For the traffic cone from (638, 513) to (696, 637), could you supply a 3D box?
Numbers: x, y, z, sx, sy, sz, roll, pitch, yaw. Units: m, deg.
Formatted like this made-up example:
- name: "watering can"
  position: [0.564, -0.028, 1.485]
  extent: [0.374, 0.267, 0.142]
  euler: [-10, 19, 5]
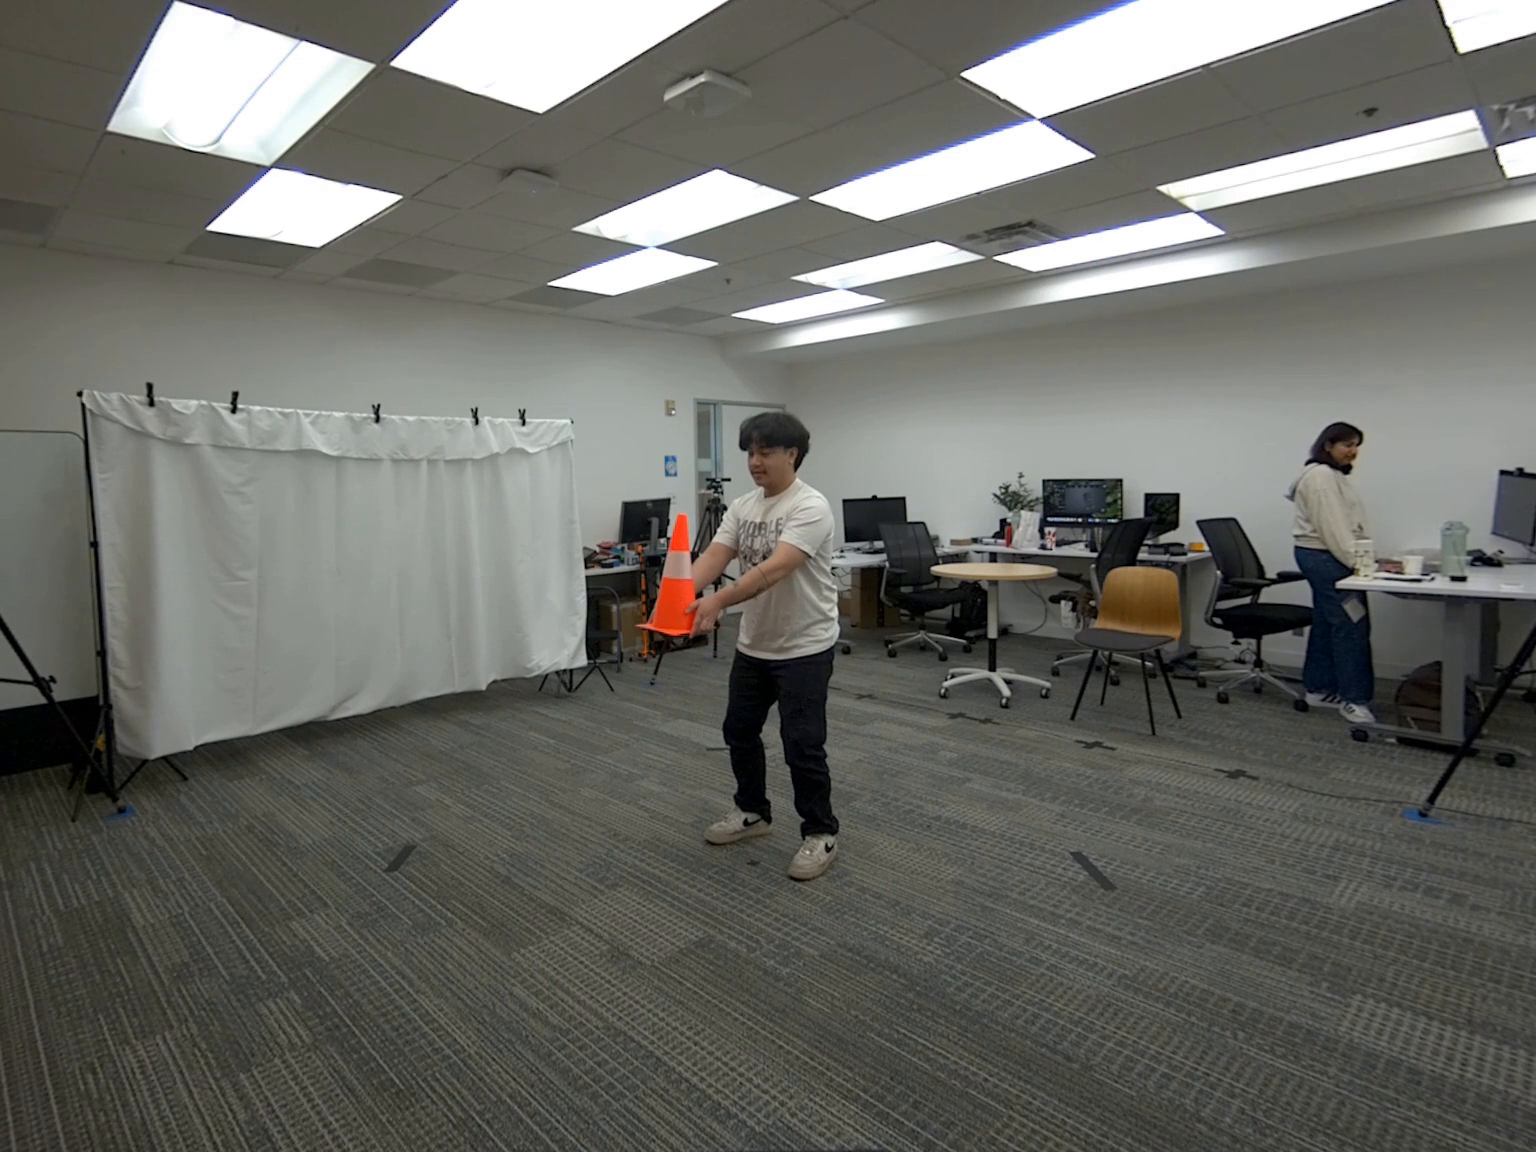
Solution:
- name: "traffic cone"
  position: [-0.295, -0.014, 2.840]
  extent: [0.210, 0.382, 0.199]
  euler: [4, 5, 29]
